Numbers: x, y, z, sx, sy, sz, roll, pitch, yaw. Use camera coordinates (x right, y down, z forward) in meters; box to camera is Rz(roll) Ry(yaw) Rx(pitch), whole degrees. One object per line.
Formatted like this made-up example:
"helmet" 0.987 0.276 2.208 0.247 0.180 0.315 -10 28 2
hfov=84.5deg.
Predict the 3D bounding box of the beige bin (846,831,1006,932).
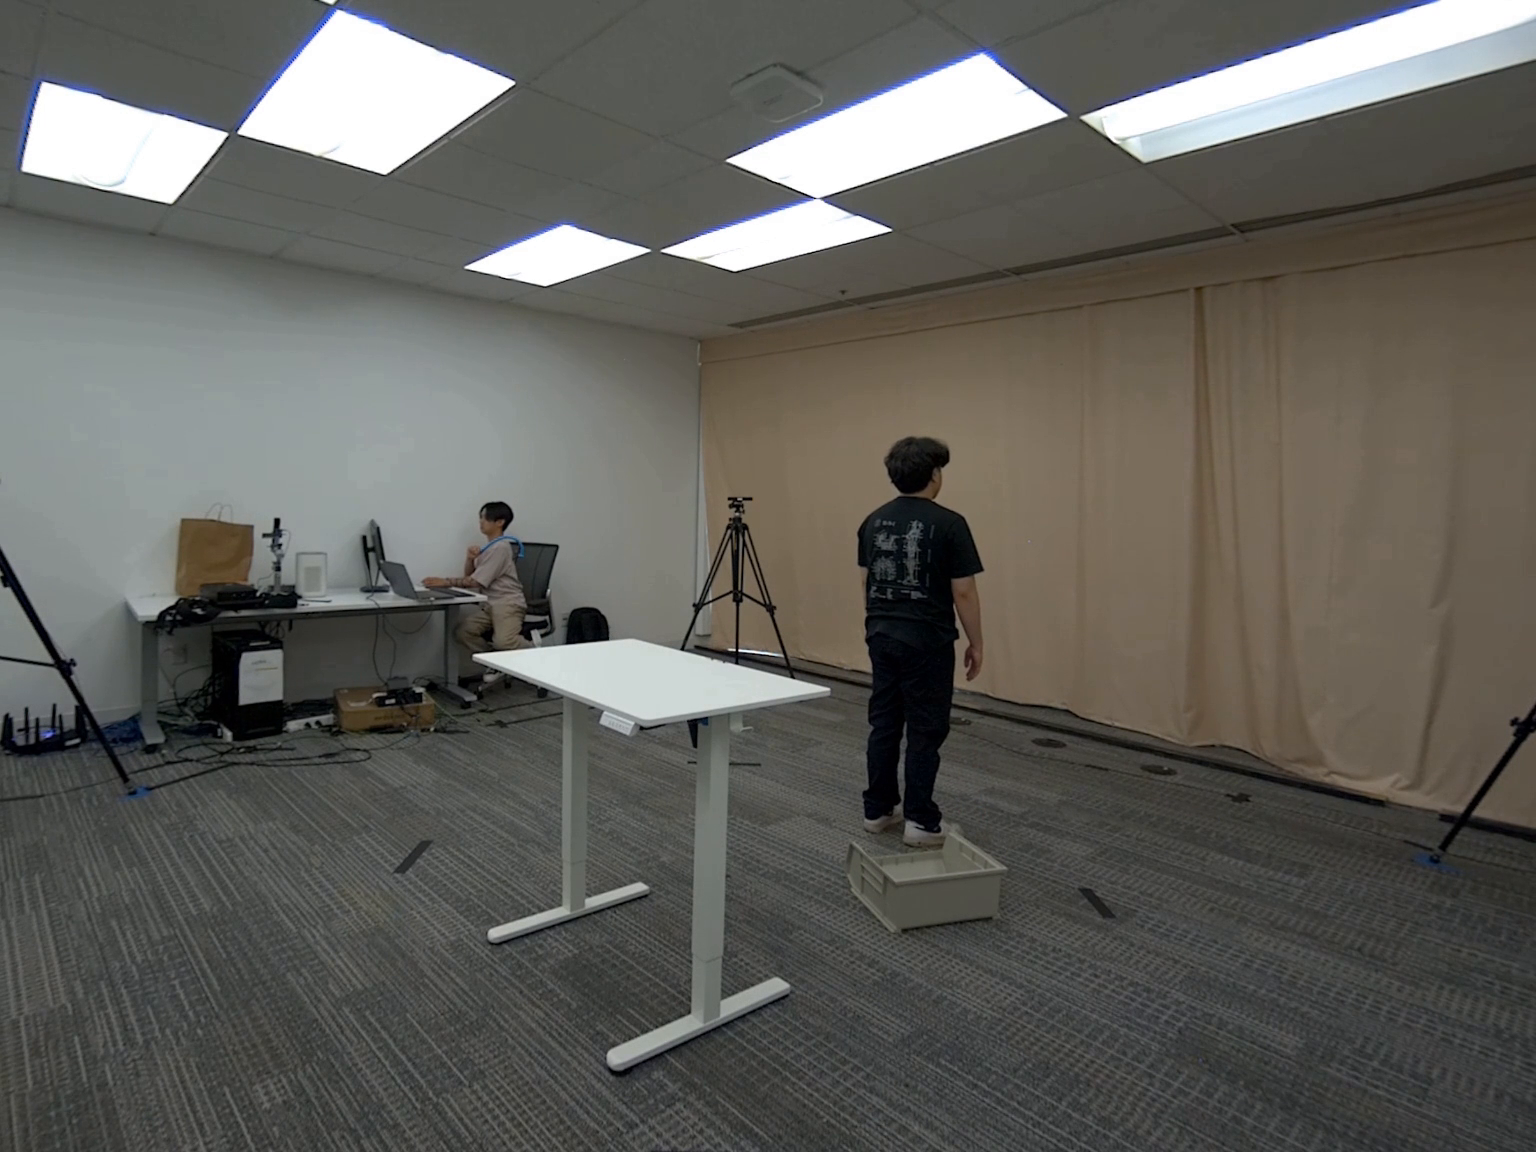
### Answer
"beige bin" 0.528 1.051 2.943 0.416 0.188 0.384 1 5 -19
